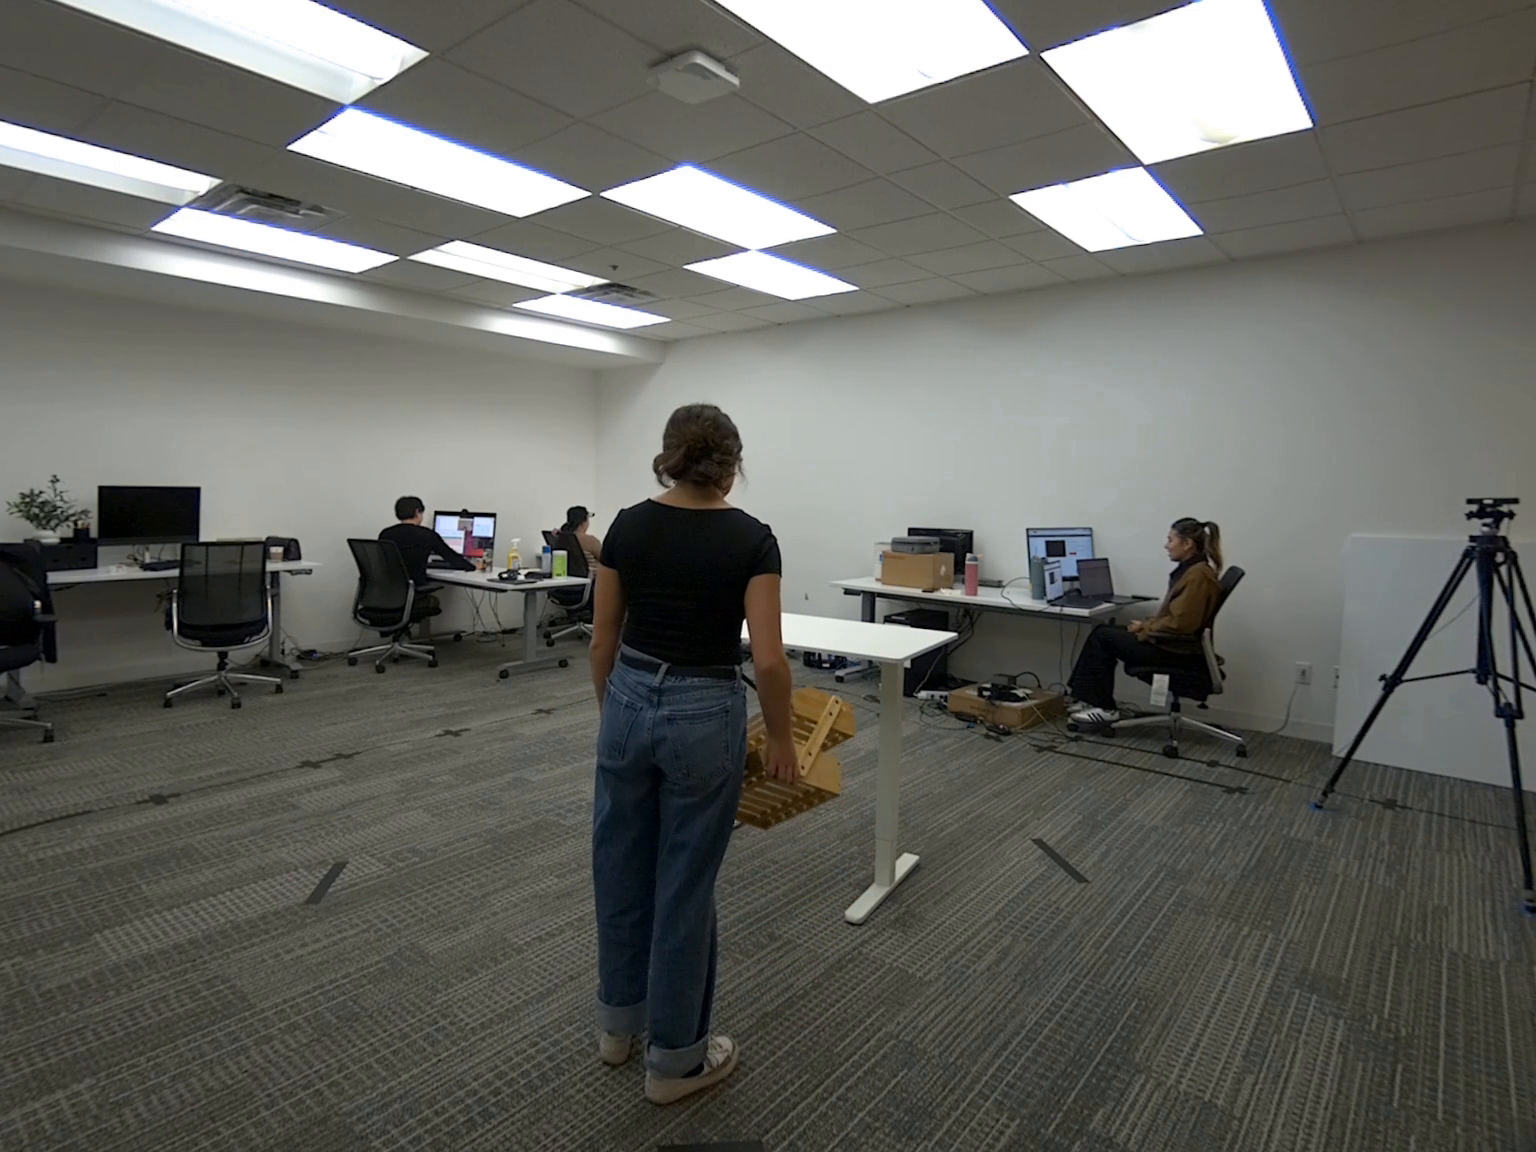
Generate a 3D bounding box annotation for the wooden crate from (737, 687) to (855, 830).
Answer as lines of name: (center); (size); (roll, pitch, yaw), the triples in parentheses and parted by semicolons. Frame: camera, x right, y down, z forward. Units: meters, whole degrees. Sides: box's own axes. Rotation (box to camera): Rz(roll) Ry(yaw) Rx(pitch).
wooden crate: (-0.001, 0.445, 2.163); (0.293, 0.280, 0.326); (25, -43, -26)
